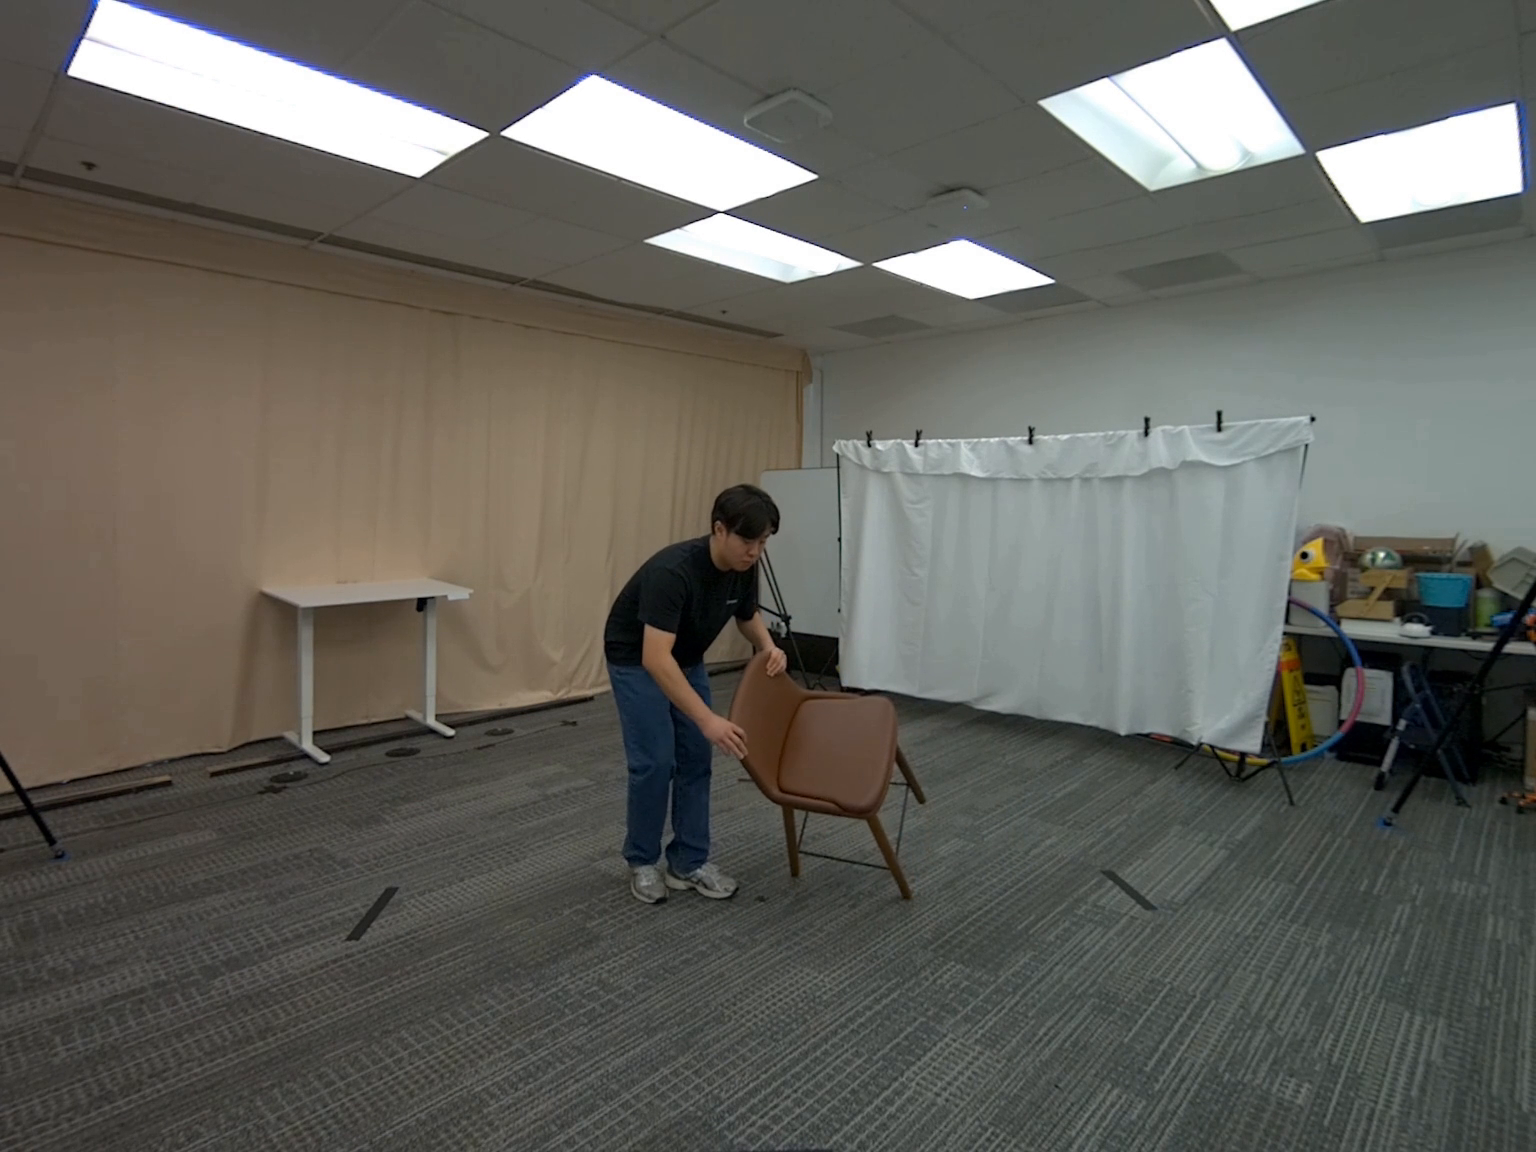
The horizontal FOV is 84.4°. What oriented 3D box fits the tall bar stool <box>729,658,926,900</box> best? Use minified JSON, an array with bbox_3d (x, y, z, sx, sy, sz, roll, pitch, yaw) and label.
[{"bbox_3d":[0.236,0.695,2.936,0.479,0.864,0.458,-1,43,24],"label":"tall bar stool"}]
